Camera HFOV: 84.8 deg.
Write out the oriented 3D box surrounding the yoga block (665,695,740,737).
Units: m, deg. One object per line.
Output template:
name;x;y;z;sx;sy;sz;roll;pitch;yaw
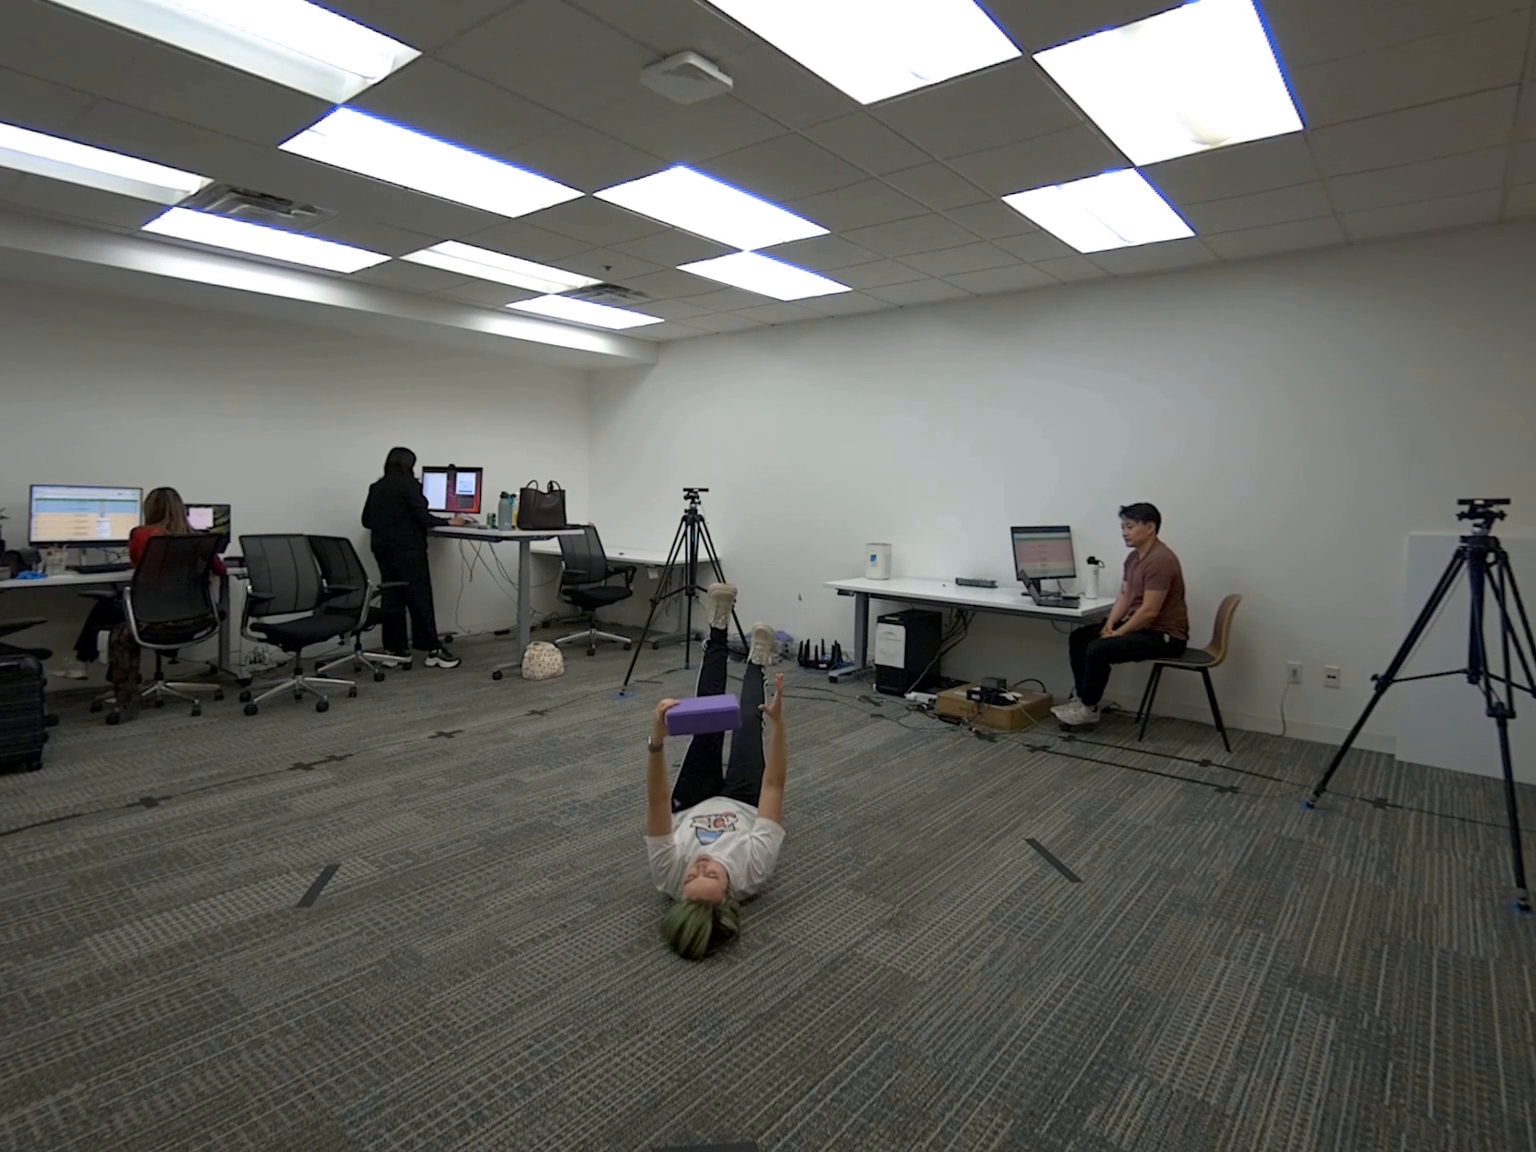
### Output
yoga block;-0.224;0.439;2.695;0.229;0.076;0.150;-4;8;-2
